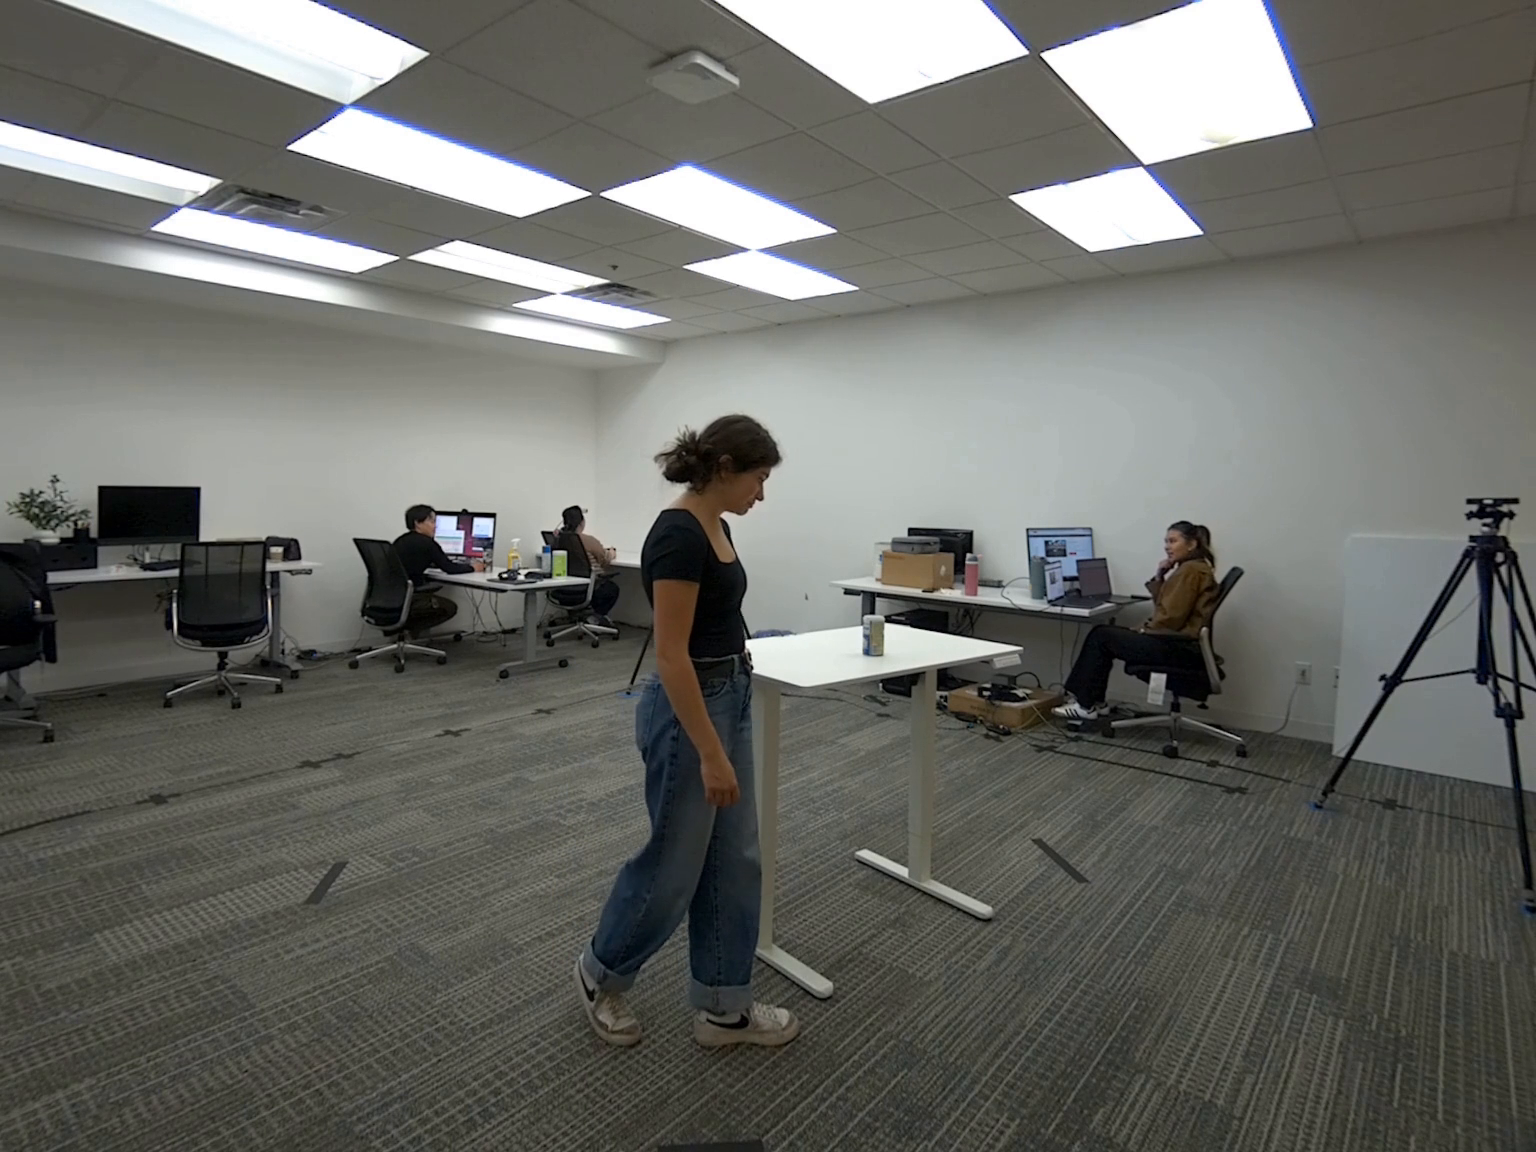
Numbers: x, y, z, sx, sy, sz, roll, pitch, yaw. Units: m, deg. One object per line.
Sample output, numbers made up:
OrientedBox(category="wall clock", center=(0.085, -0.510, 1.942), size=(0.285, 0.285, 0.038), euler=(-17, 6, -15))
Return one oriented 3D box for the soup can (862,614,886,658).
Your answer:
OrientedBox(category="soup can", center=(0.325, 0.182, 2.646), size=(0.067, 0.121, 0.067), euler=(1, 3, -2))
